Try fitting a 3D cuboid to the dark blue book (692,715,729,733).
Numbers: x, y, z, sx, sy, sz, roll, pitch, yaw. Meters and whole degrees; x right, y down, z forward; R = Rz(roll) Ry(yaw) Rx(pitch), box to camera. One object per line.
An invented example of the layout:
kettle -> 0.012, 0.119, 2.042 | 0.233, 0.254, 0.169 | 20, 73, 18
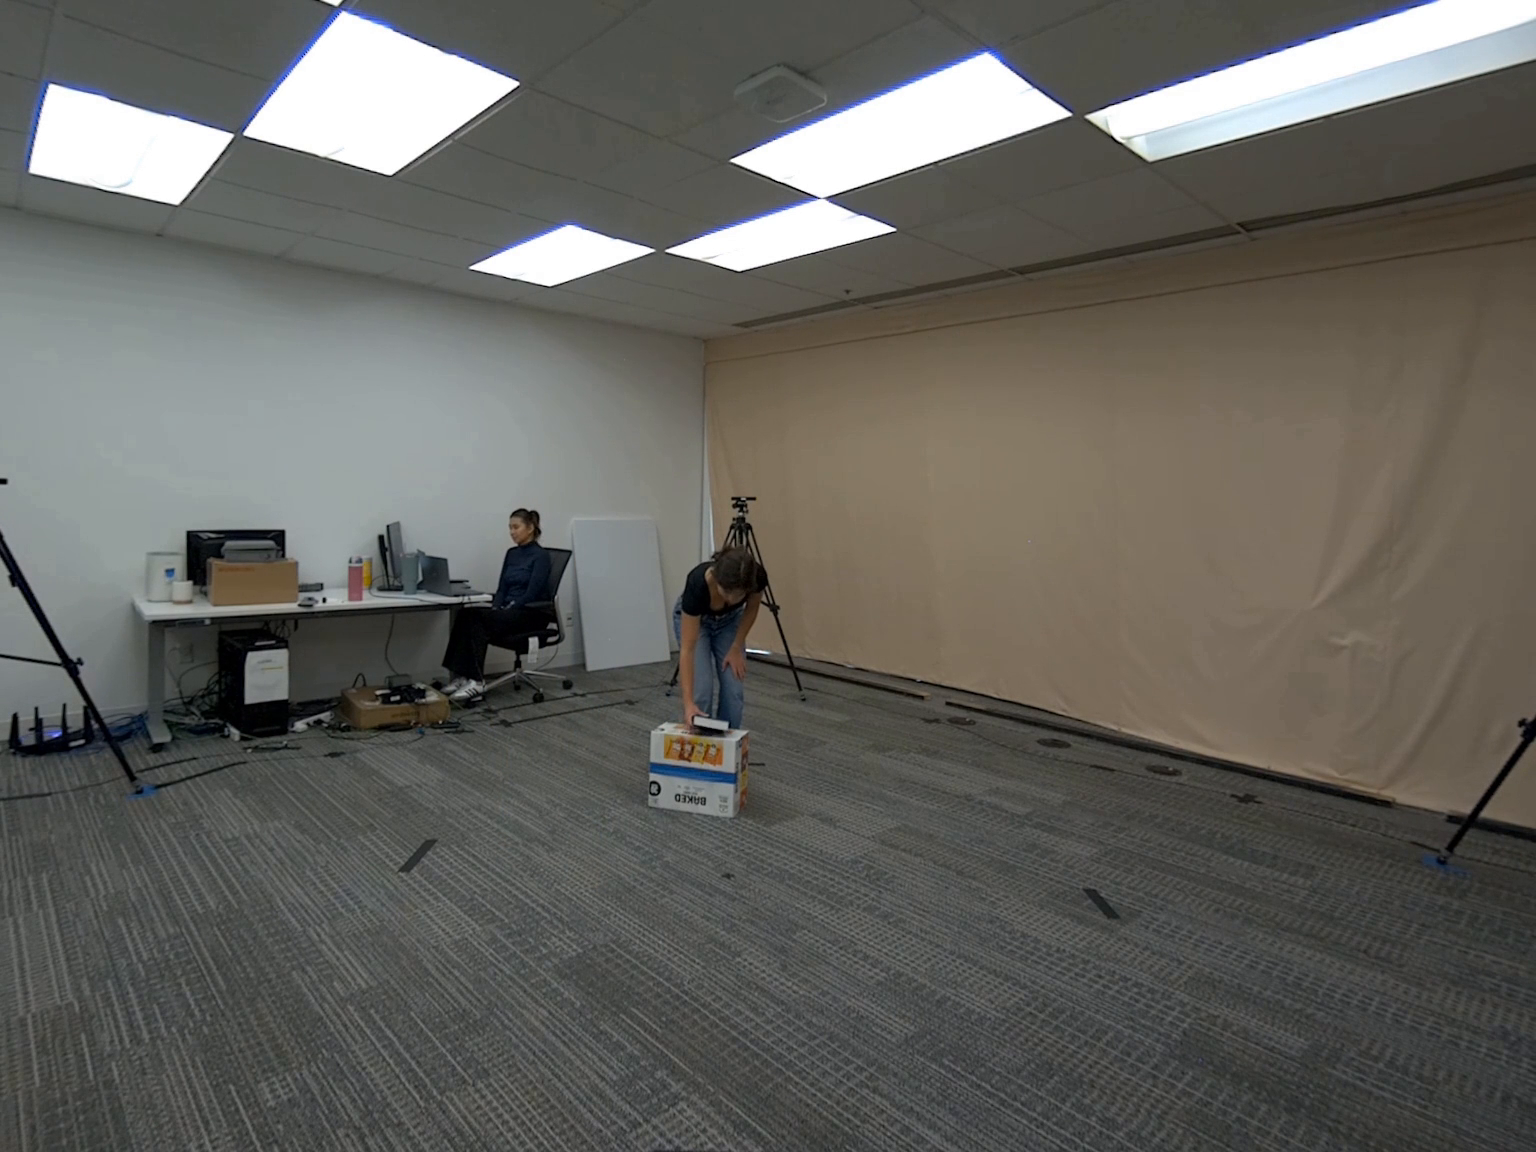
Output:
dark blue book -> -0.273, 0.666, 3.825 | 0.162, 0.045, 0.245 | 10, -10, -8
